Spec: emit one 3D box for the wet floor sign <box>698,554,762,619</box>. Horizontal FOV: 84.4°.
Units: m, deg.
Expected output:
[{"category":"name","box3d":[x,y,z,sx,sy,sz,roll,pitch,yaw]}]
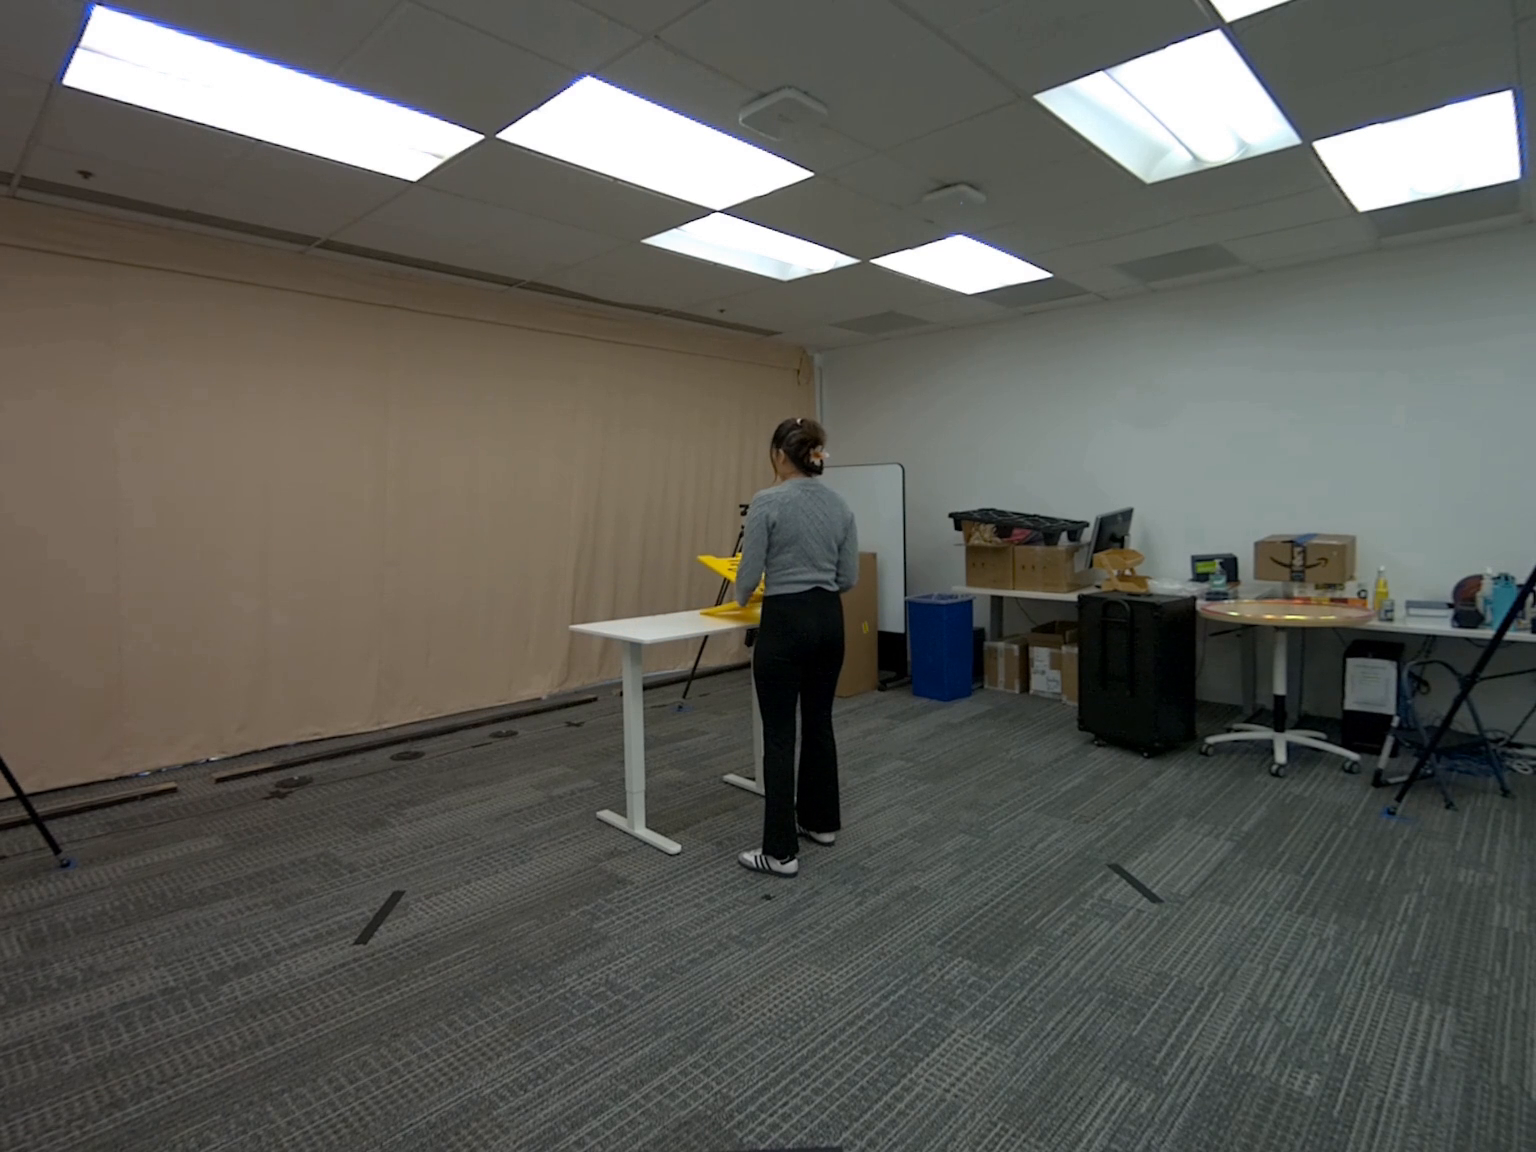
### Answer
[{"category":"wet floor sign","box3d":[-0.074,0.055,3.752,0.276,0.289,0.662,-5,5,-24]}]
